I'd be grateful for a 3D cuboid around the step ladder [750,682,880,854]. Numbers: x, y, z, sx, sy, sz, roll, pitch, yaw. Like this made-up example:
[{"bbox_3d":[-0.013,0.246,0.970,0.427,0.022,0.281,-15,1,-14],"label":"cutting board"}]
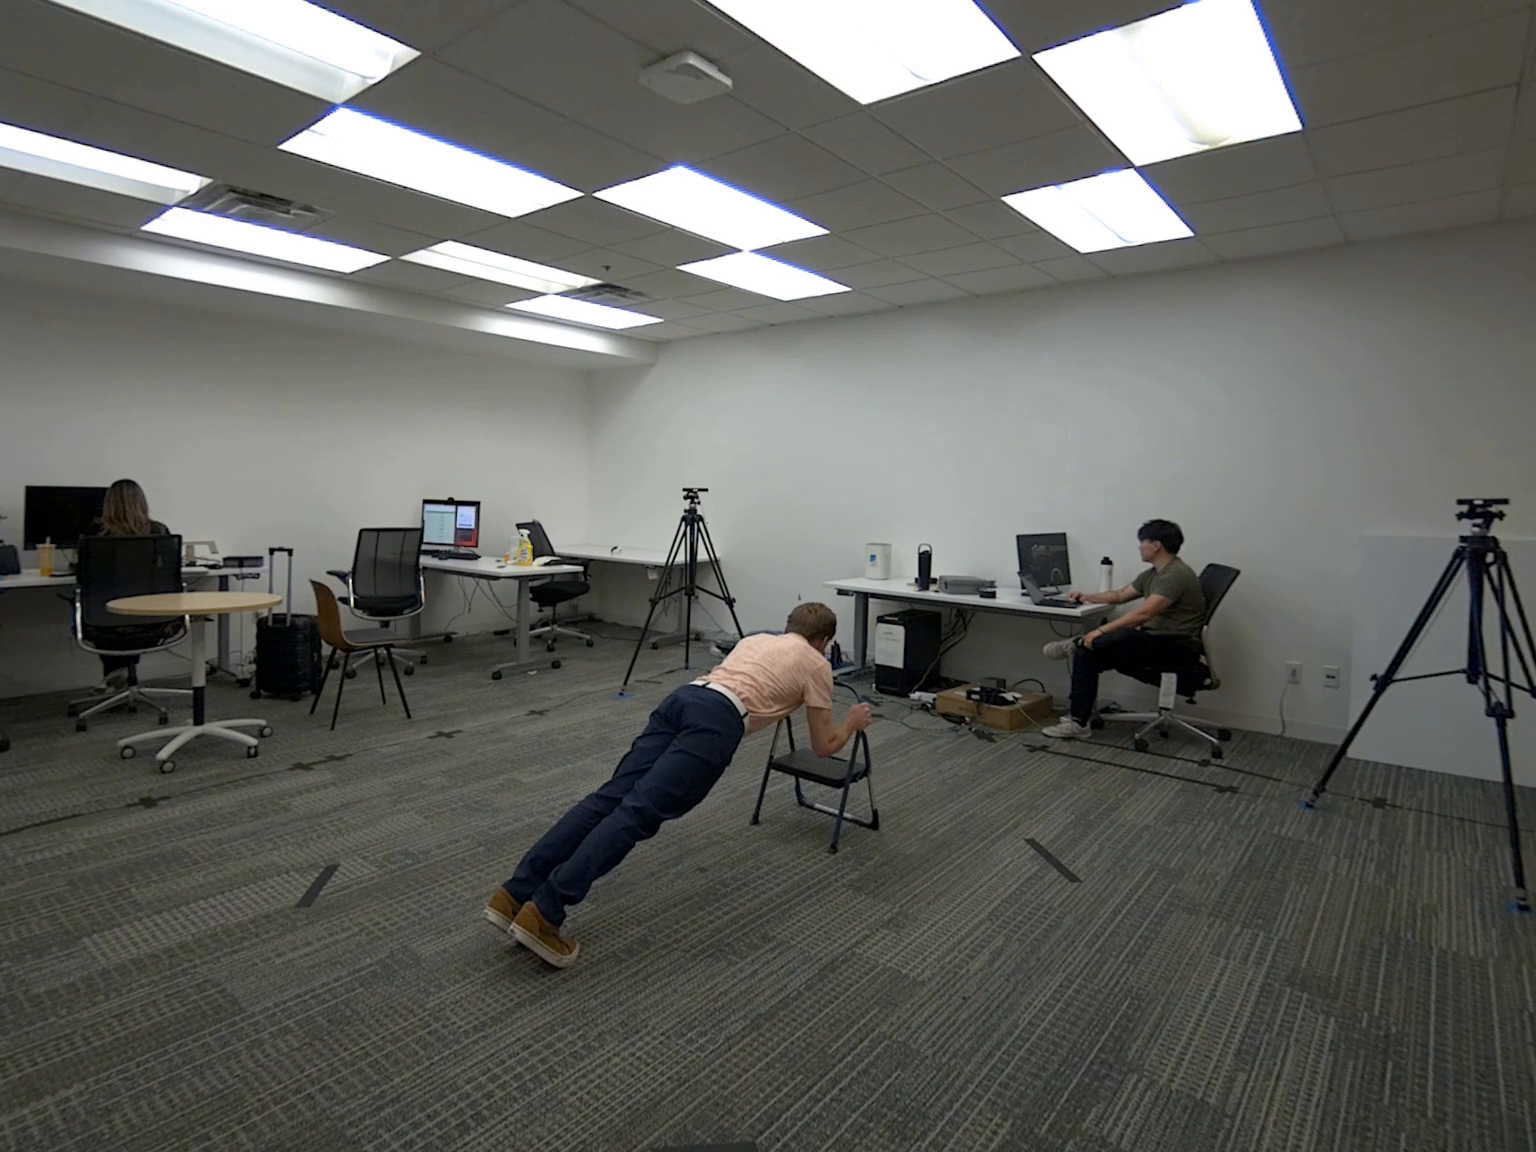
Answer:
[{"bbox_3d":[0.196,0.738,3.524,0.445,0.604,0.339,4,4,40],"label":"step ladder"}]
